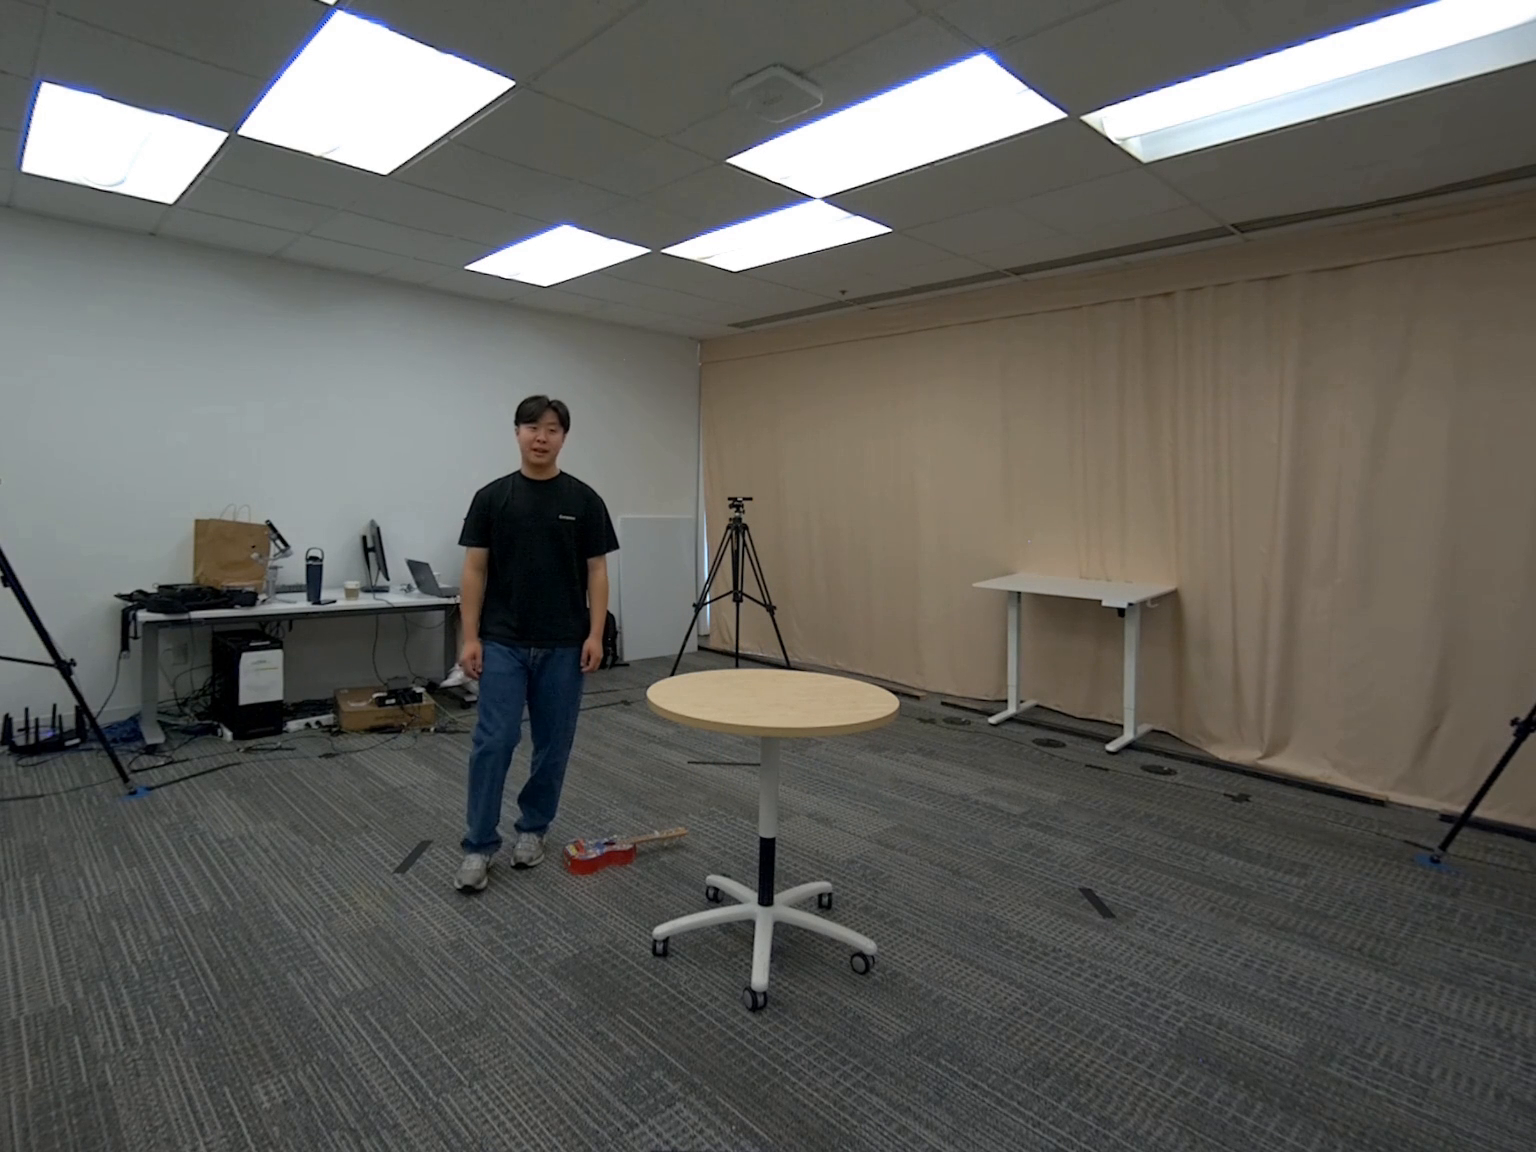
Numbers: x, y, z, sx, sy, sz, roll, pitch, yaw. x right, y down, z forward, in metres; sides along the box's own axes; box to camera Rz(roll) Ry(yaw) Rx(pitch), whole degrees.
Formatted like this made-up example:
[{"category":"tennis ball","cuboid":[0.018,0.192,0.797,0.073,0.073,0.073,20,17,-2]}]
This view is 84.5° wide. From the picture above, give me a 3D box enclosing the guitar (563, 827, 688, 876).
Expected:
[{"category":"guitar","cuboid":[-0.539,1.054,3.231,0.491,0.070,0.196,-1,5,-18]}]
